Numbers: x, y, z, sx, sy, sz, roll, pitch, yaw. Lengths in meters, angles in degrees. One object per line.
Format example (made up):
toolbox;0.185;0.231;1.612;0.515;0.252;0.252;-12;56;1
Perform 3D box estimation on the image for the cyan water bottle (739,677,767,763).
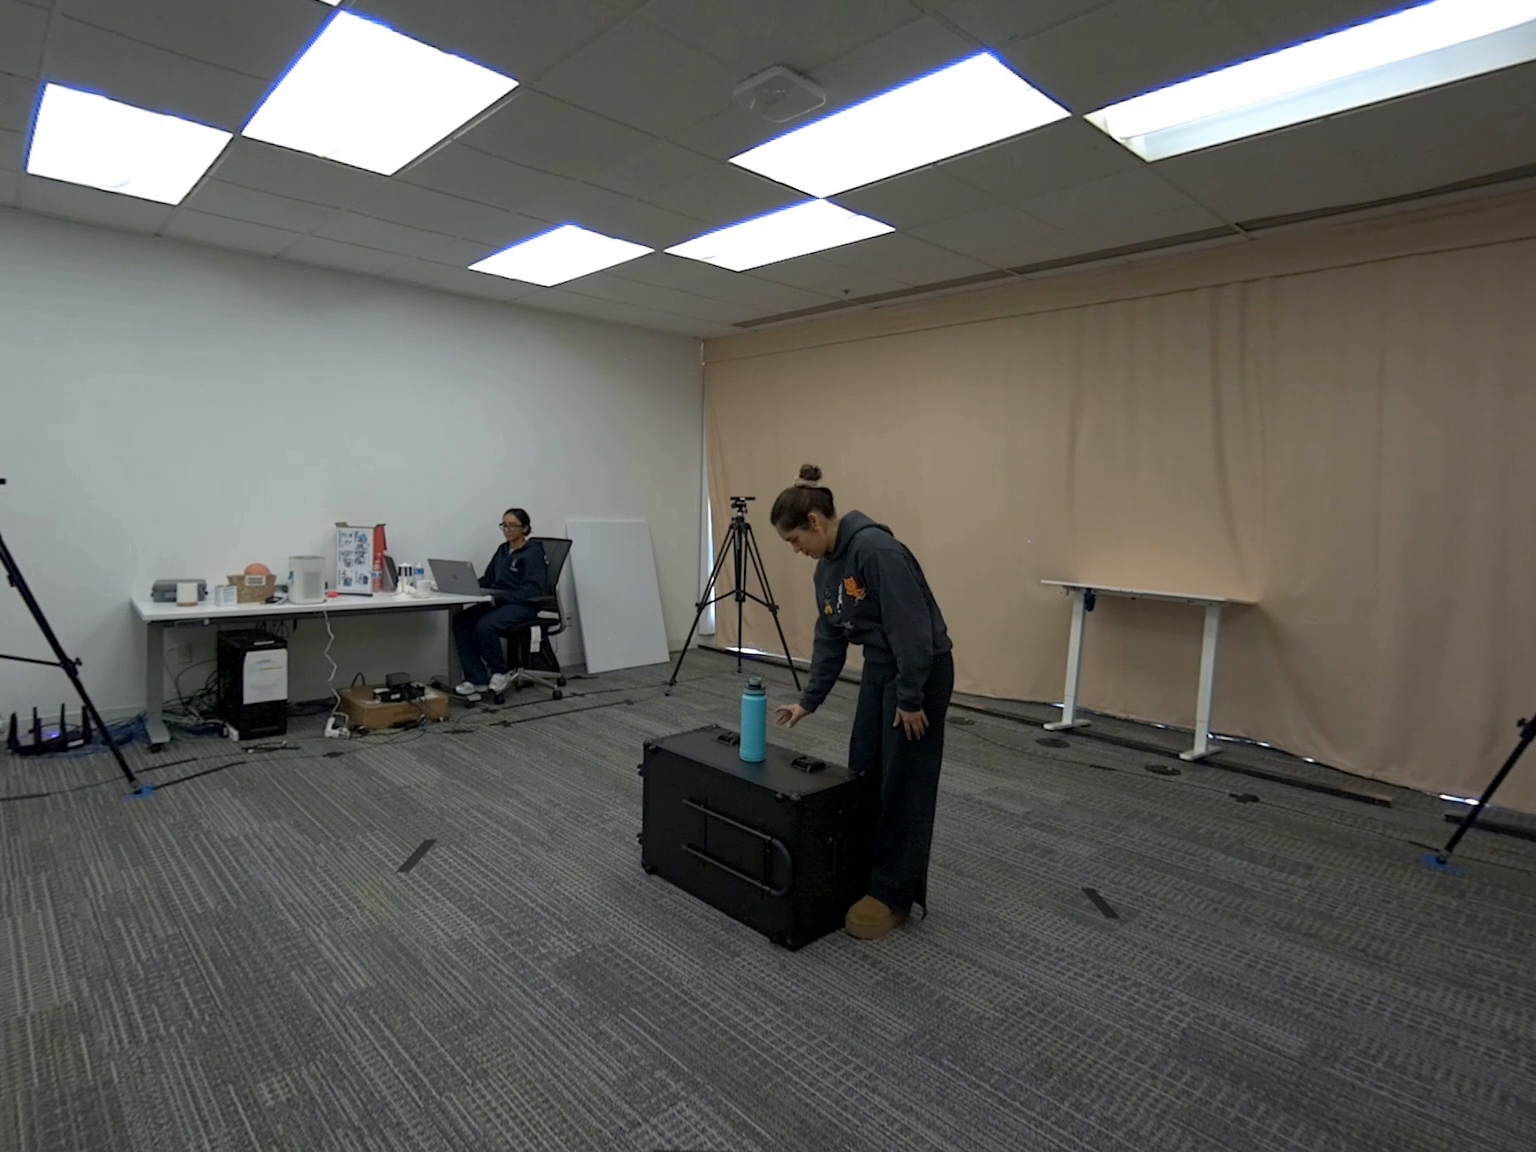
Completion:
cyan water bottle;-0.052;0.497;2.964;0.092;0.283;0.092;1;2;-1
